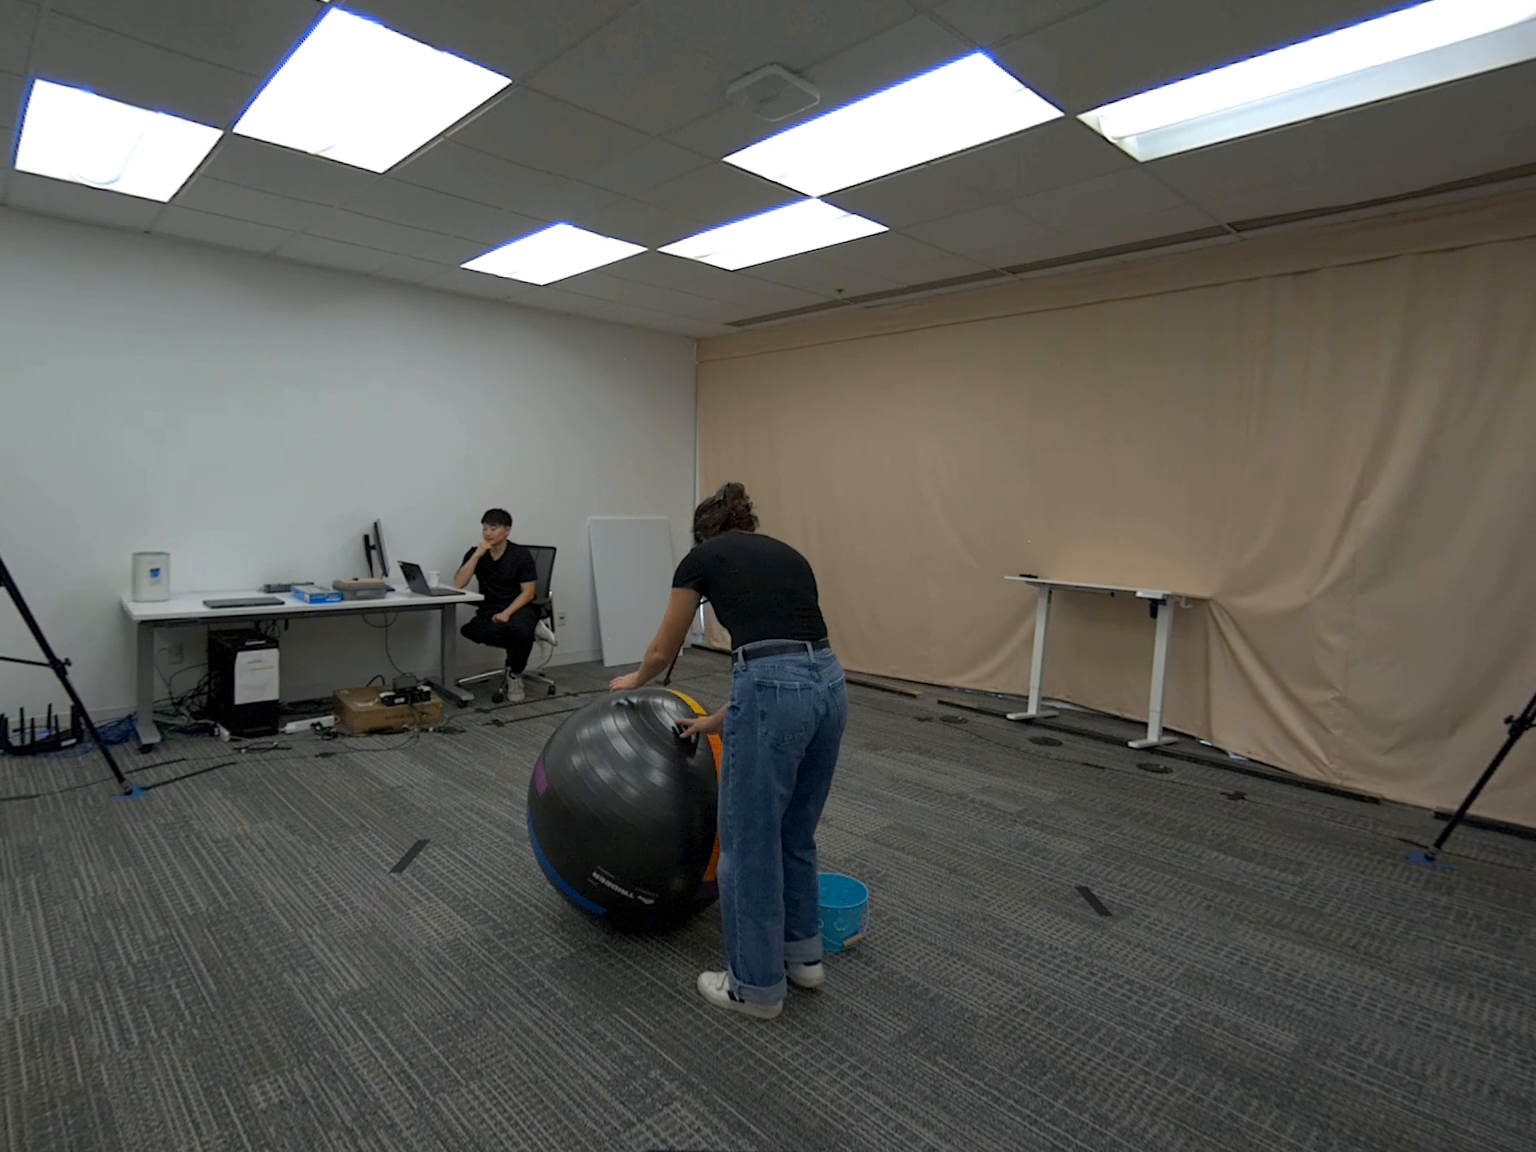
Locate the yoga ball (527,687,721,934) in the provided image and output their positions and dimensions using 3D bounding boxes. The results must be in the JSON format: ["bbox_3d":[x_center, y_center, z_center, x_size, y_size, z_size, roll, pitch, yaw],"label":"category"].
[{"bbox_3d":[-0.415,0.756,2.786,0.757,0.756,0.761,1,4,-1],"label":"yoga ball"}]
